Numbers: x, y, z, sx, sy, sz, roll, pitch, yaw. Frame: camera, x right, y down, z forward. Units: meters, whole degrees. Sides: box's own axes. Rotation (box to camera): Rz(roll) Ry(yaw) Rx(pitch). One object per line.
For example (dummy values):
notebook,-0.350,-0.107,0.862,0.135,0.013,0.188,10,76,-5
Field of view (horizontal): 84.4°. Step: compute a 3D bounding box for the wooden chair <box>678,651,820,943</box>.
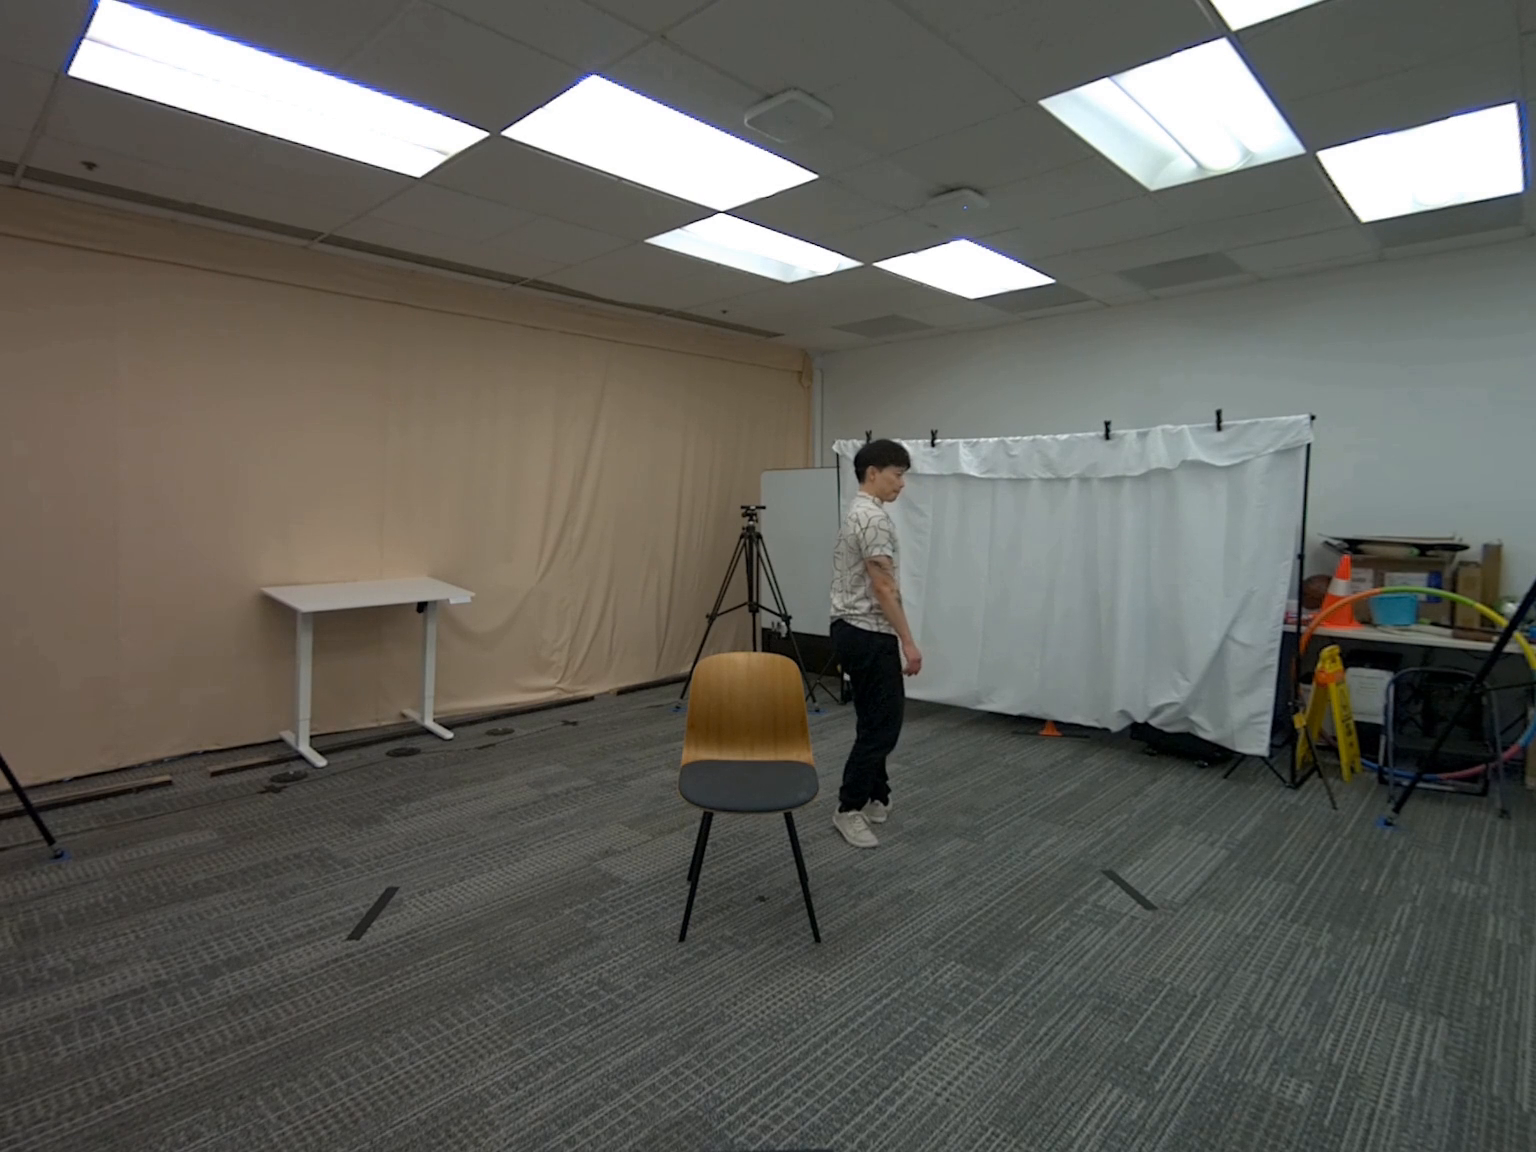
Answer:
wooden chair,-0.060,0.727,2.867,0.478,0.878,0.523,0,-1,-1
